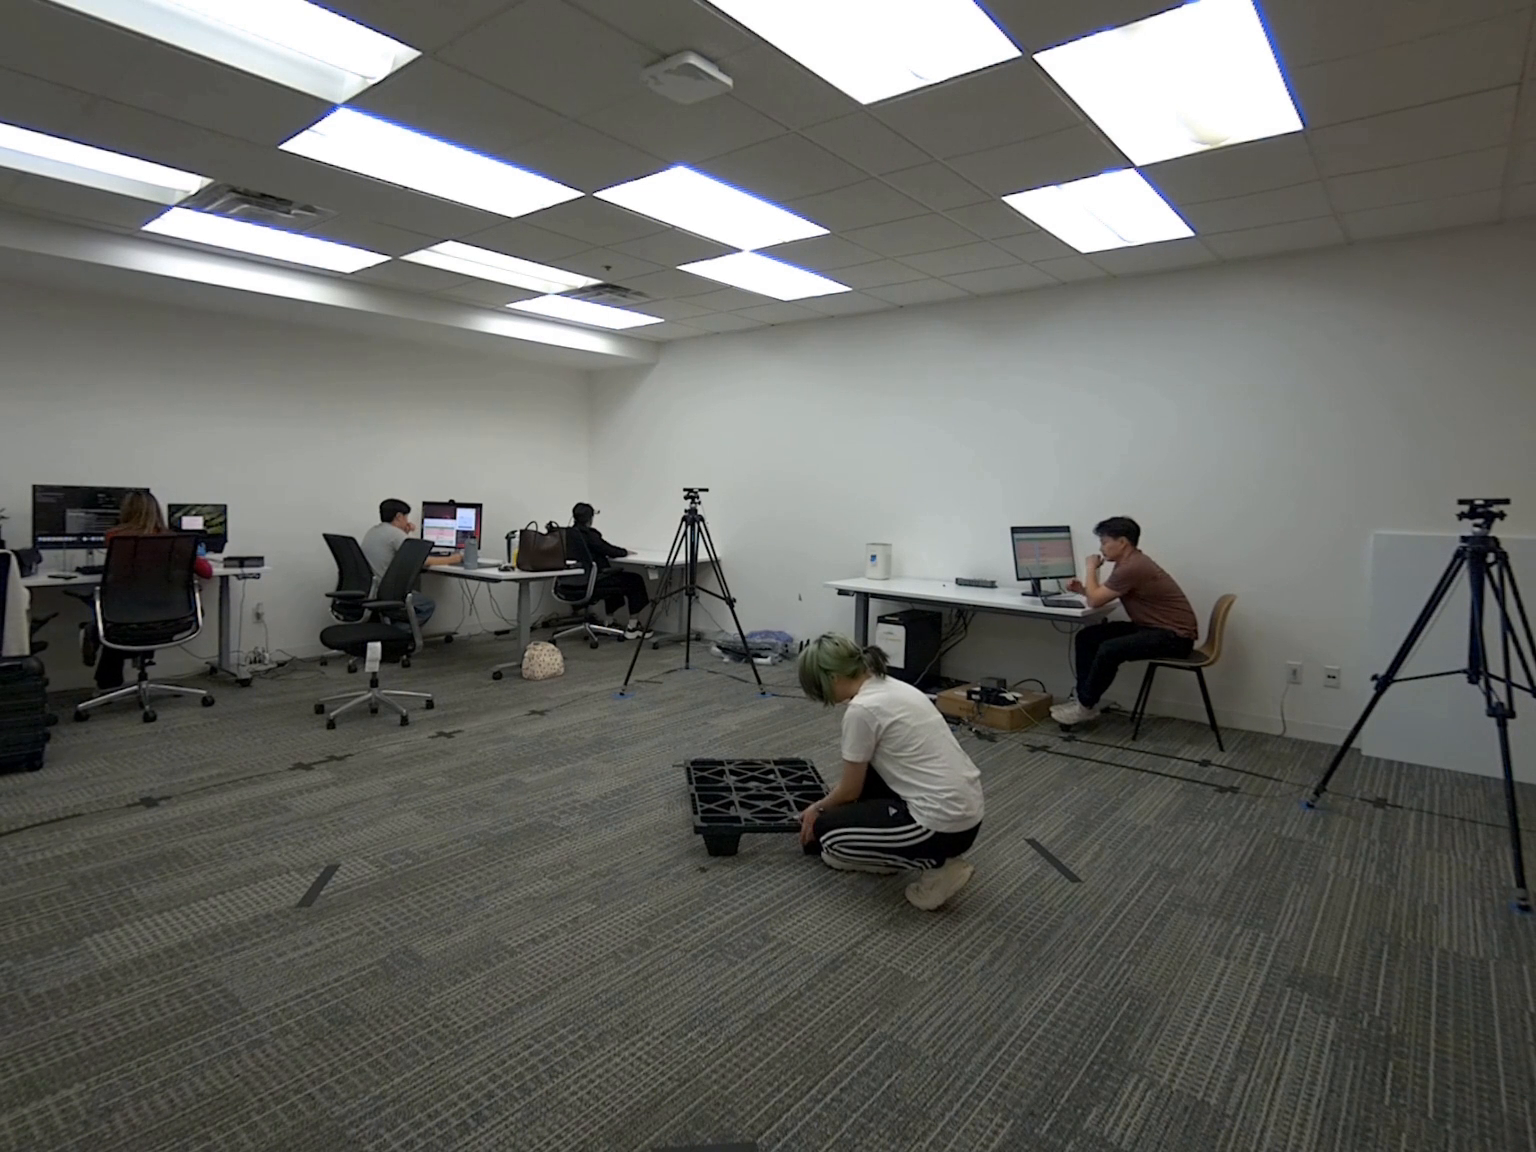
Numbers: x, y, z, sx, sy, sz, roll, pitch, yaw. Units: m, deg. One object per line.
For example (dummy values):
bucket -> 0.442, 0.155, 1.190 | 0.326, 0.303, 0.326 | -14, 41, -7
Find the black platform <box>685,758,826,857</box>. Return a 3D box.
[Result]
black platform -> -0.052, 0.958, 3.595 | 0.601, 0.143, 0.814 | 0, 5, -7
